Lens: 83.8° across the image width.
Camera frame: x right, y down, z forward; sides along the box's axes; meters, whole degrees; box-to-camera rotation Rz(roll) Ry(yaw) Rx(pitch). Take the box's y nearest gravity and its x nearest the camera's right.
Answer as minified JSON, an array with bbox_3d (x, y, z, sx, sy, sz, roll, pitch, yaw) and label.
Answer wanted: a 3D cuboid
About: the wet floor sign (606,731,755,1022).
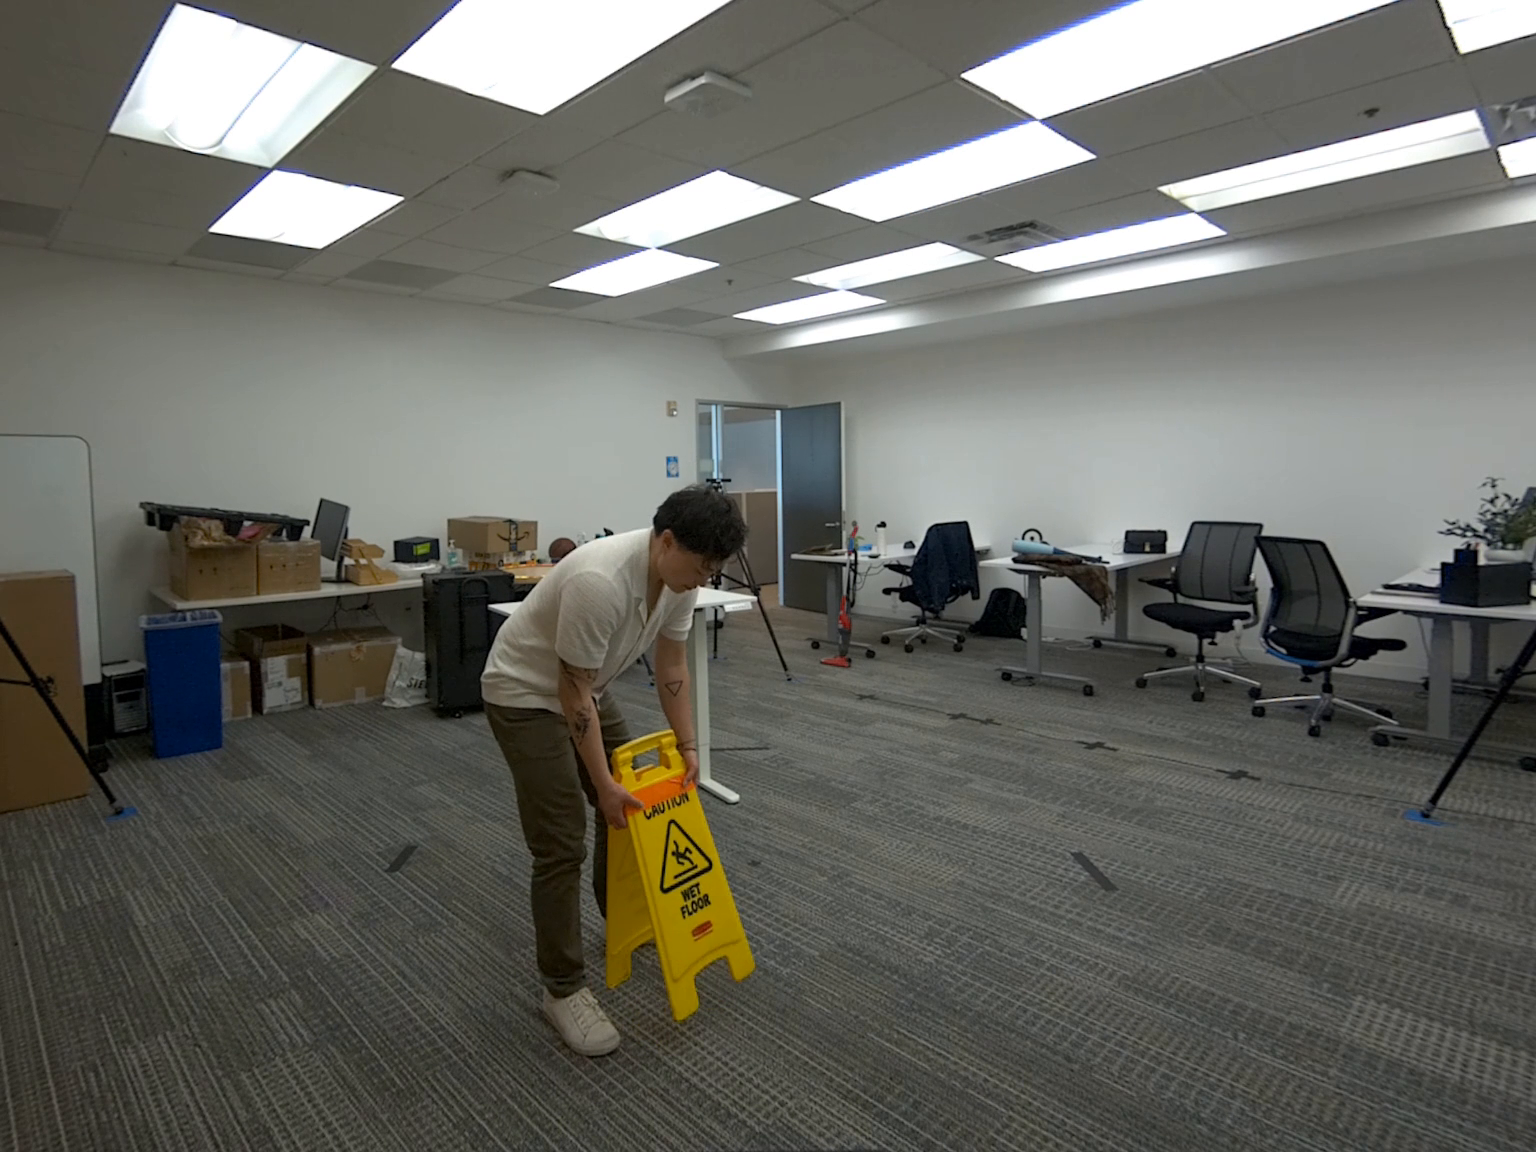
[{"bbox_3d":[-0.270,0.745,2.252,0.297,0.645,0.275,-8,2,45],"label":"wet floor sign"}]
